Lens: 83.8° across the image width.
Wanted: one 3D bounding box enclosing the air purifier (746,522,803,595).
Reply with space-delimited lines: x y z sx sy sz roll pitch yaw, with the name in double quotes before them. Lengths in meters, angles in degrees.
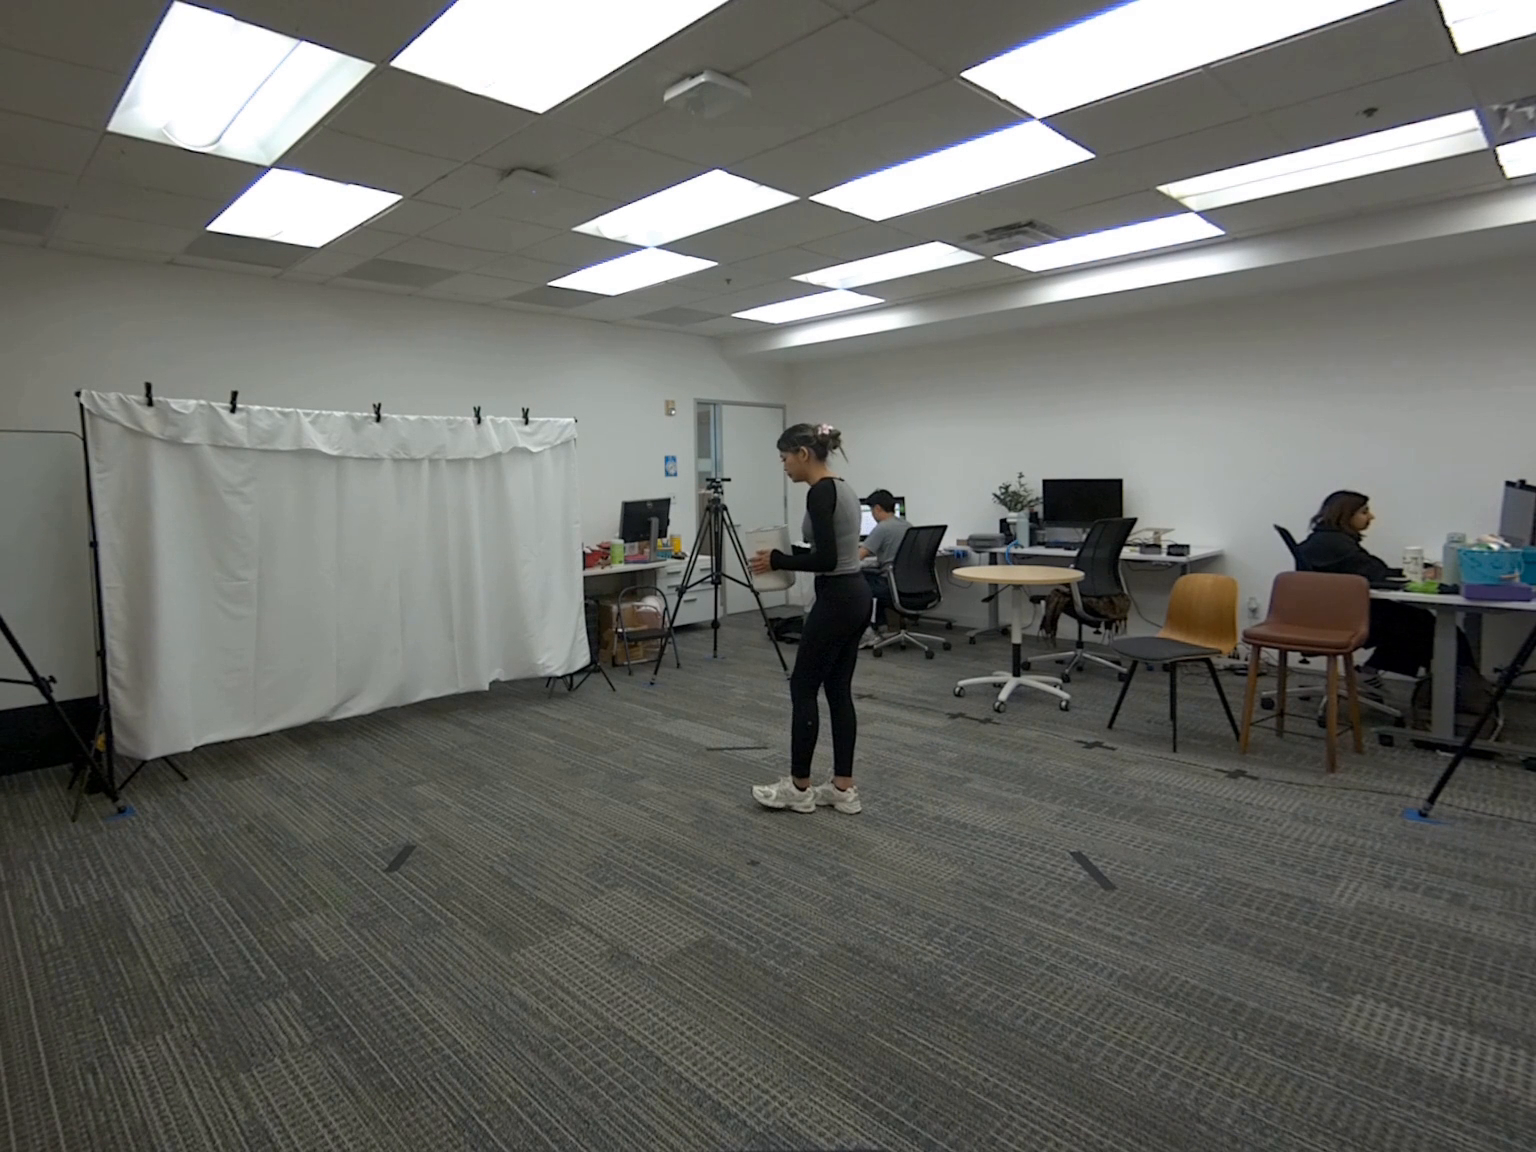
"air purifier" 0.028 -0.078 3.653 0.173 0.263 0.171 -7 7 14
